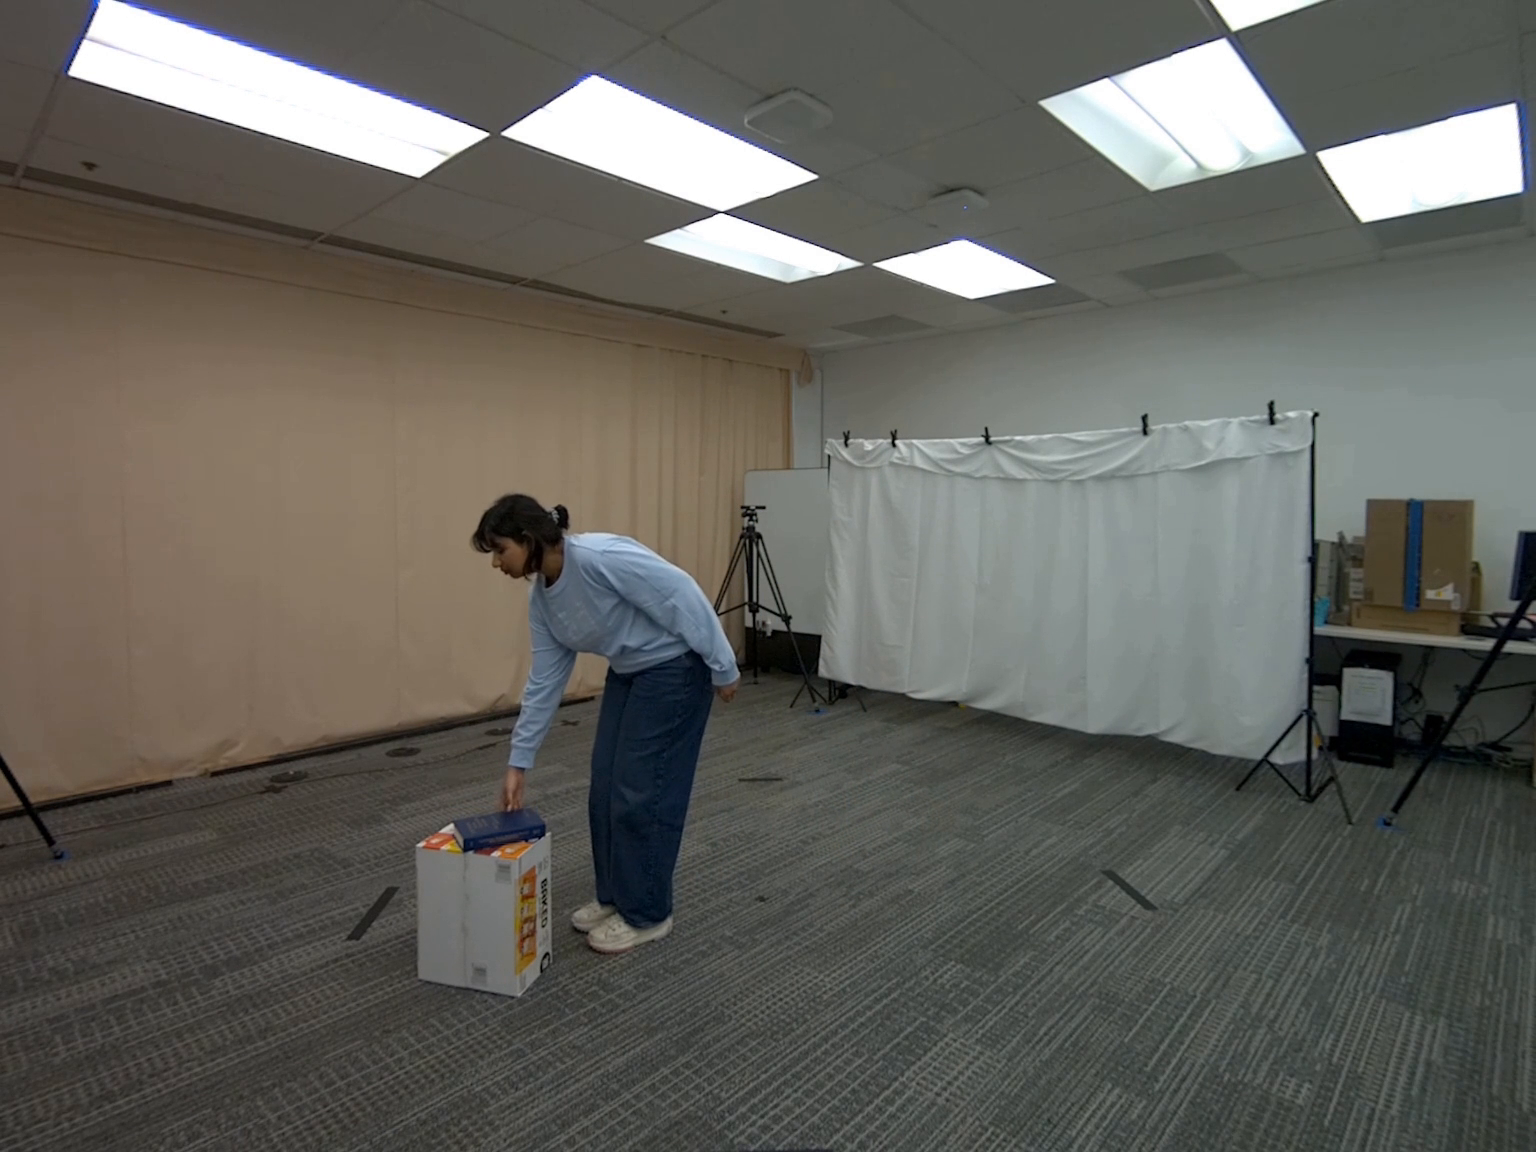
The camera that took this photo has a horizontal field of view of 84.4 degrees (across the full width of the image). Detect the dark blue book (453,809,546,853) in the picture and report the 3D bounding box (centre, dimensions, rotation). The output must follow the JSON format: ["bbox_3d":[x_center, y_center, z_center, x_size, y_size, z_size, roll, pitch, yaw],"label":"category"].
[{"bbox_3d":[-0.819,0.766,2.526,0.238,0.045,0.168,-3,4,-30],"label":"dark blue book"}]
